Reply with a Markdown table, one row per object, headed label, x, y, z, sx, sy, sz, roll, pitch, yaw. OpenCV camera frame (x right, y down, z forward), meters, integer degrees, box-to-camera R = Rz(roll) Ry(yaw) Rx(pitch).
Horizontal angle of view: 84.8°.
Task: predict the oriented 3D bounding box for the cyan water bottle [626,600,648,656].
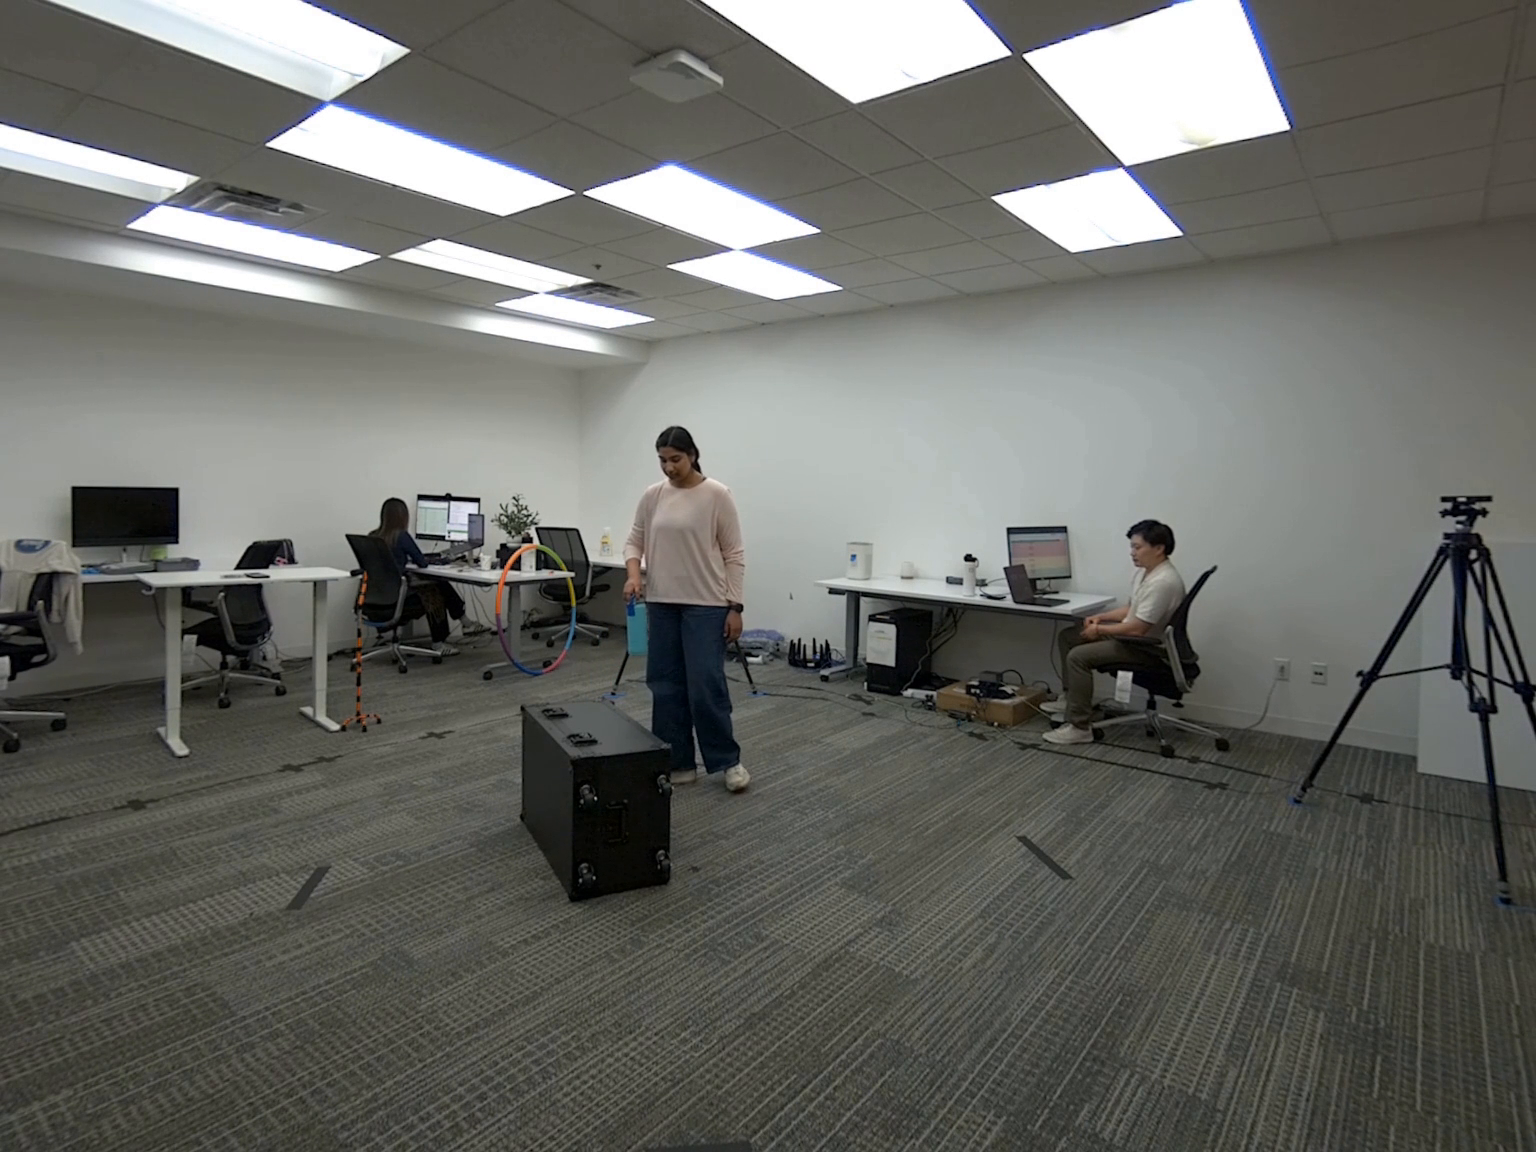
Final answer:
| label | x | y | z | sx | sy | sz | roll | pitch | yaw |
| --- | --- | --- | --- | --- | --- | --- | --- | --- | --- |
| cyan water bottle | -0.606 | 0.208 | 3.849 | 0.092 | 0.283 | 0.092 | -2 | 1 | -2 |
